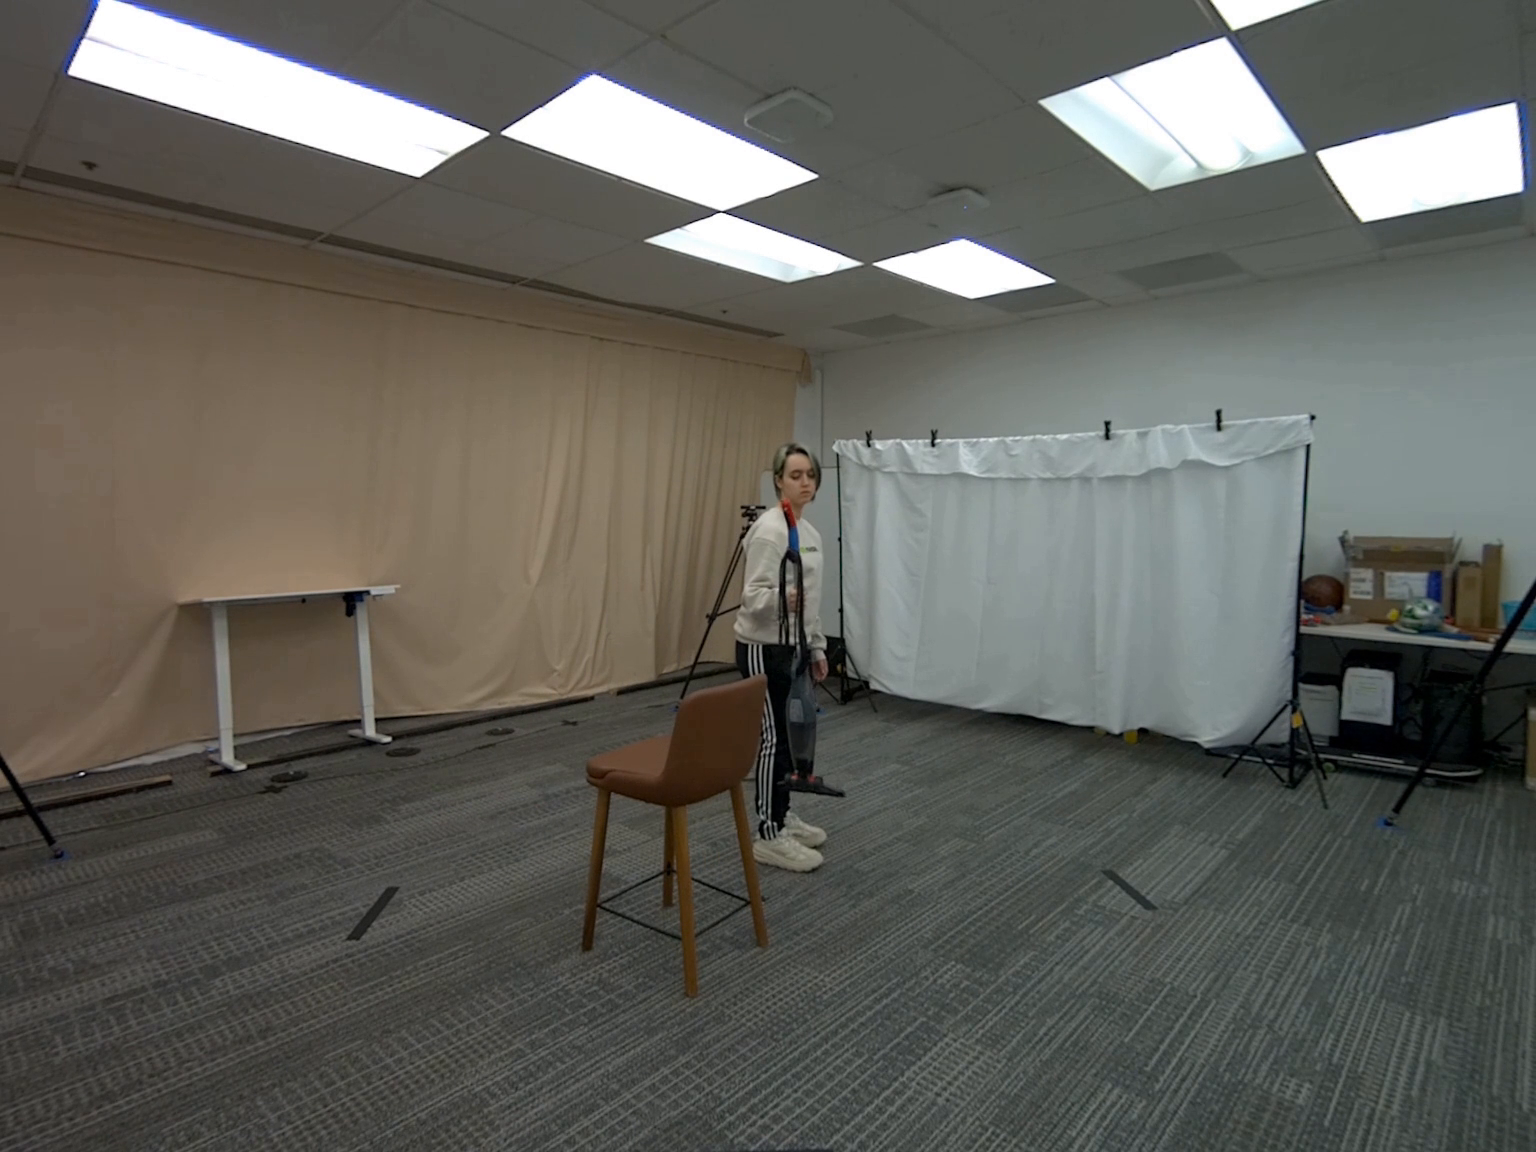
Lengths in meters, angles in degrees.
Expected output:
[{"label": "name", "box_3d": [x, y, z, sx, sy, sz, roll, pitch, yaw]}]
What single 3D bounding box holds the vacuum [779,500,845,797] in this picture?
[{"label": "vacuum", "box_3d": [0.101, 0.266, 2.971, 0.256, 1.041, 0.143, -2, 11, 14]}]
